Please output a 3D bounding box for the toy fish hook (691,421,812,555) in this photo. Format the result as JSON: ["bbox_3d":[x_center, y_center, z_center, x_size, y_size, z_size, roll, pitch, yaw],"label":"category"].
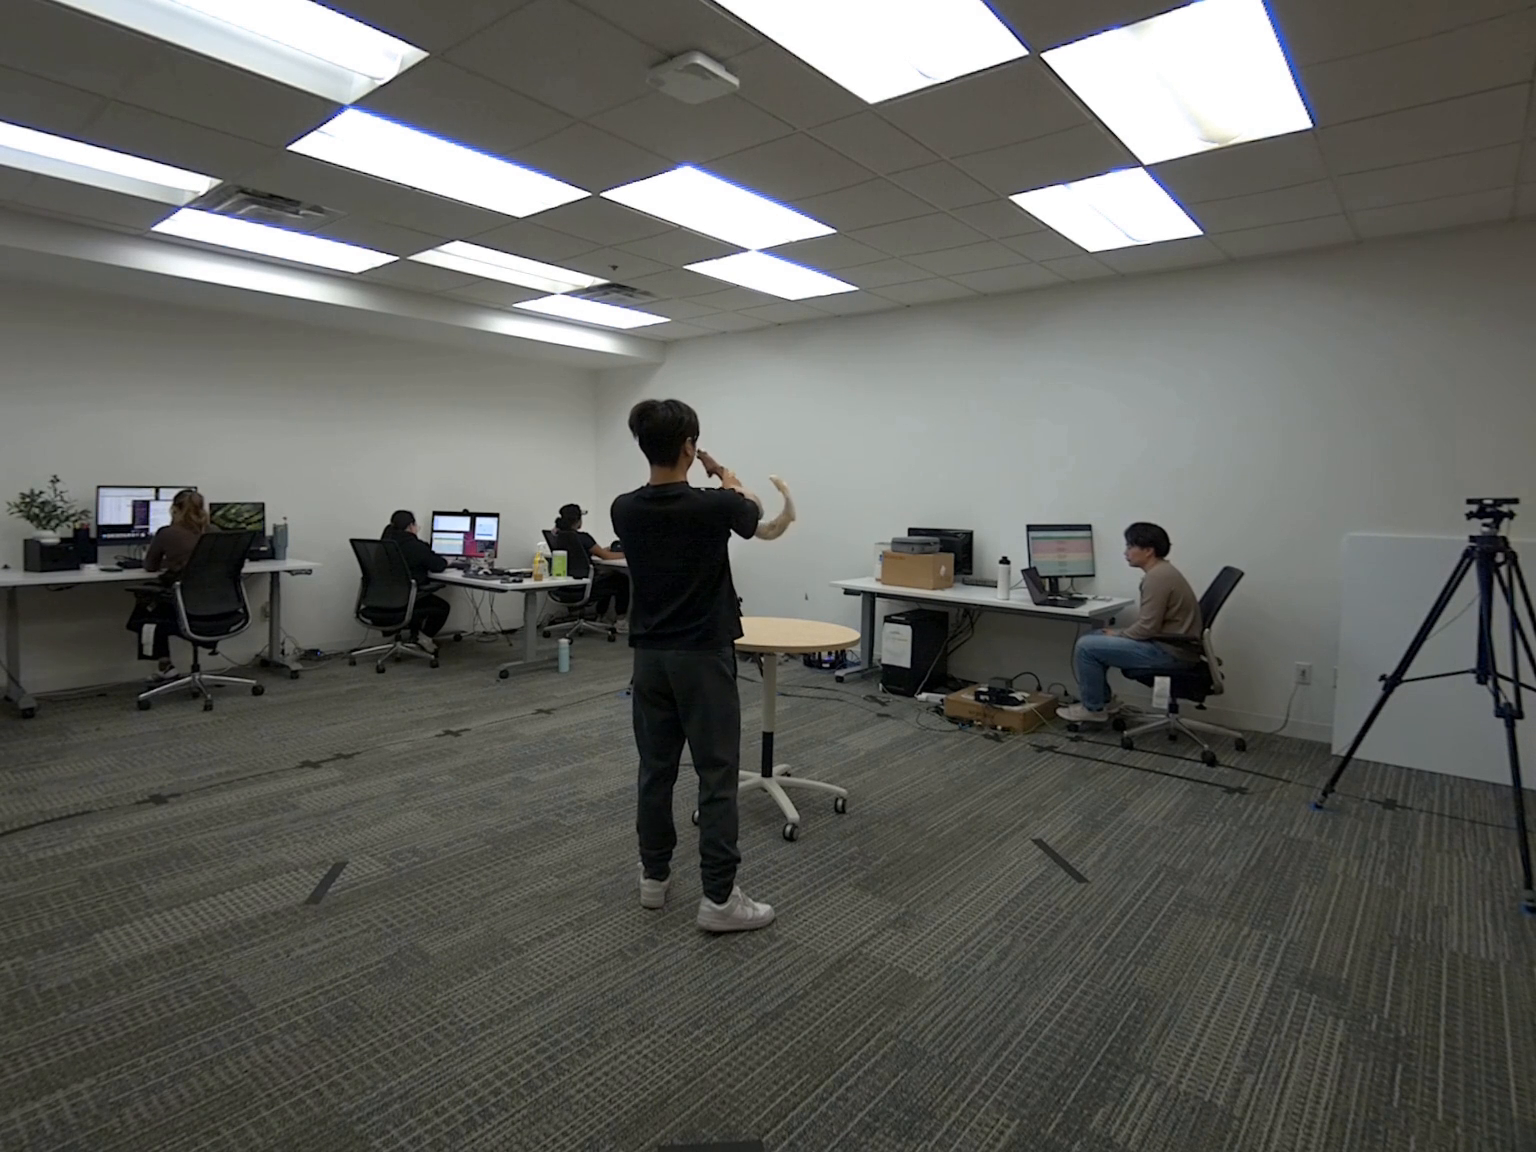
[{"bbox_3d":[-0.084,-0.344,3.207,0.523,0.225,0.047,50,12,25],"label":"toy fish hook"}]
